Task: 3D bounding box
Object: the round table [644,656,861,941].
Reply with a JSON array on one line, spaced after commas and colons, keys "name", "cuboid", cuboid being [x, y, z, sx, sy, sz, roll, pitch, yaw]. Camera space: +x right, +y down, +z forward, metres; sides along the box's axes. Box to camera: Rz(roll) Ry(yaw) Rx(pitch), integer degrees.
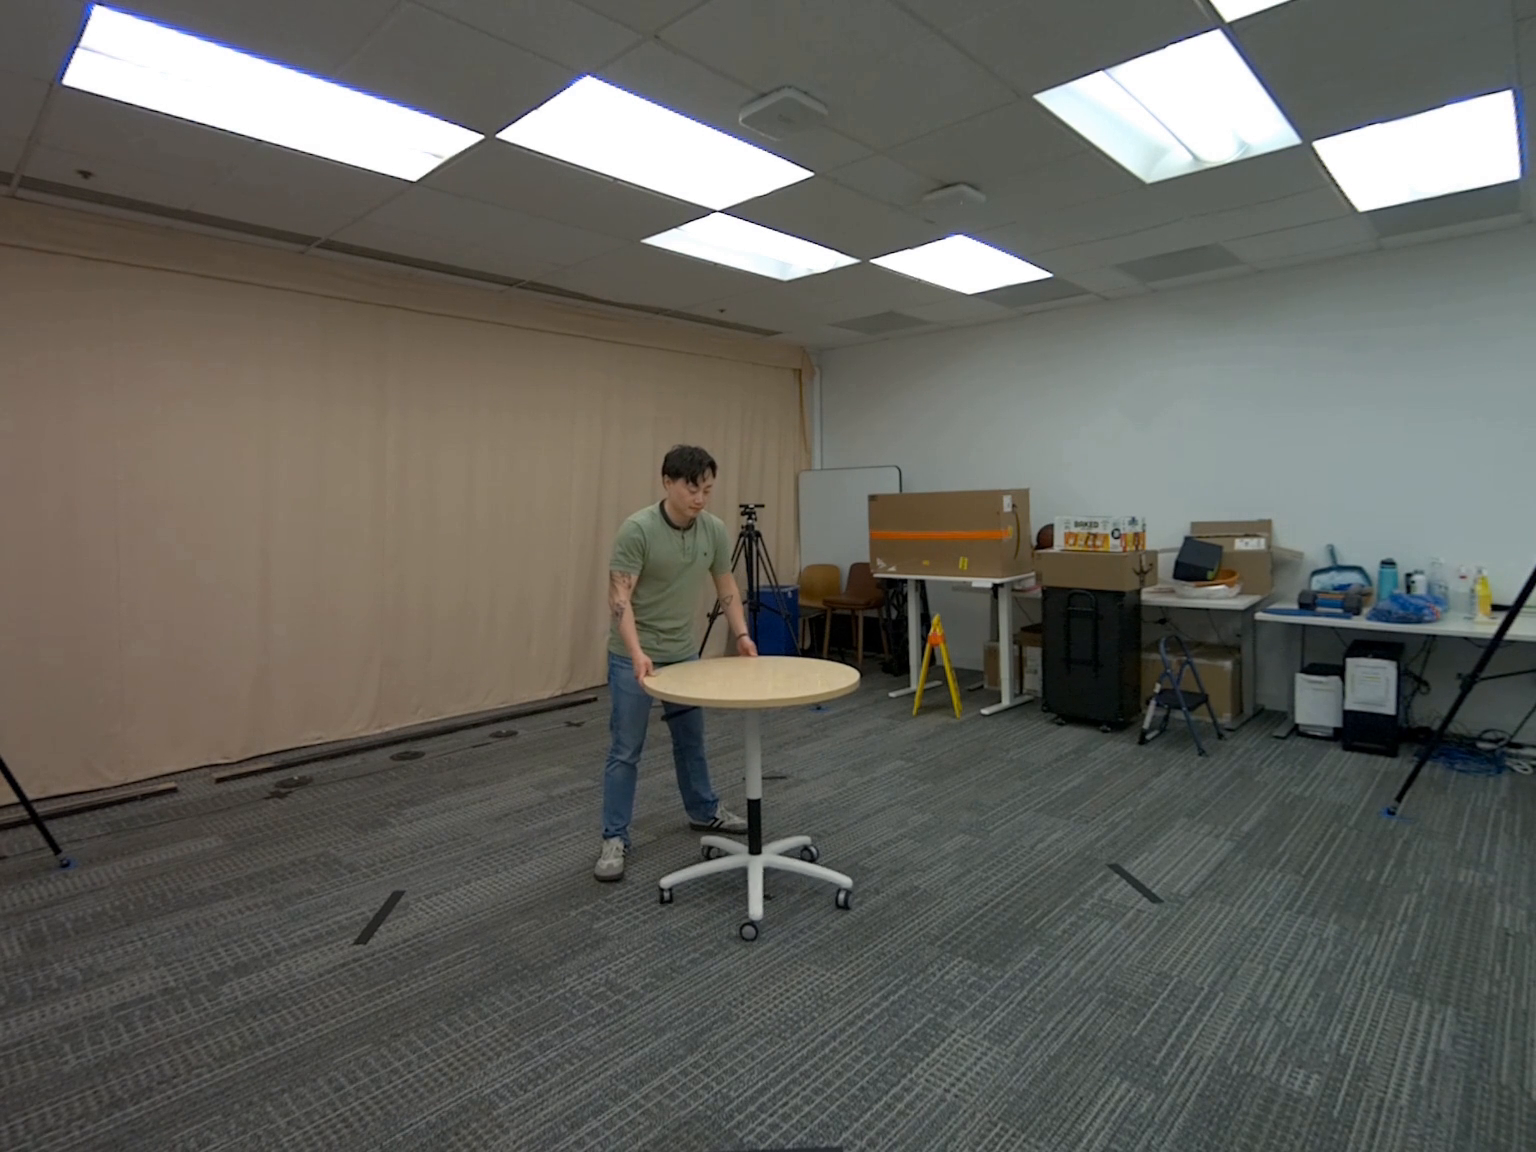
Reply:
[{"name": "round table", "cuboid": [-0.051, 0.746, 3.017, 0.763, 0.792, 0.766, -1, 3, -2]}]
